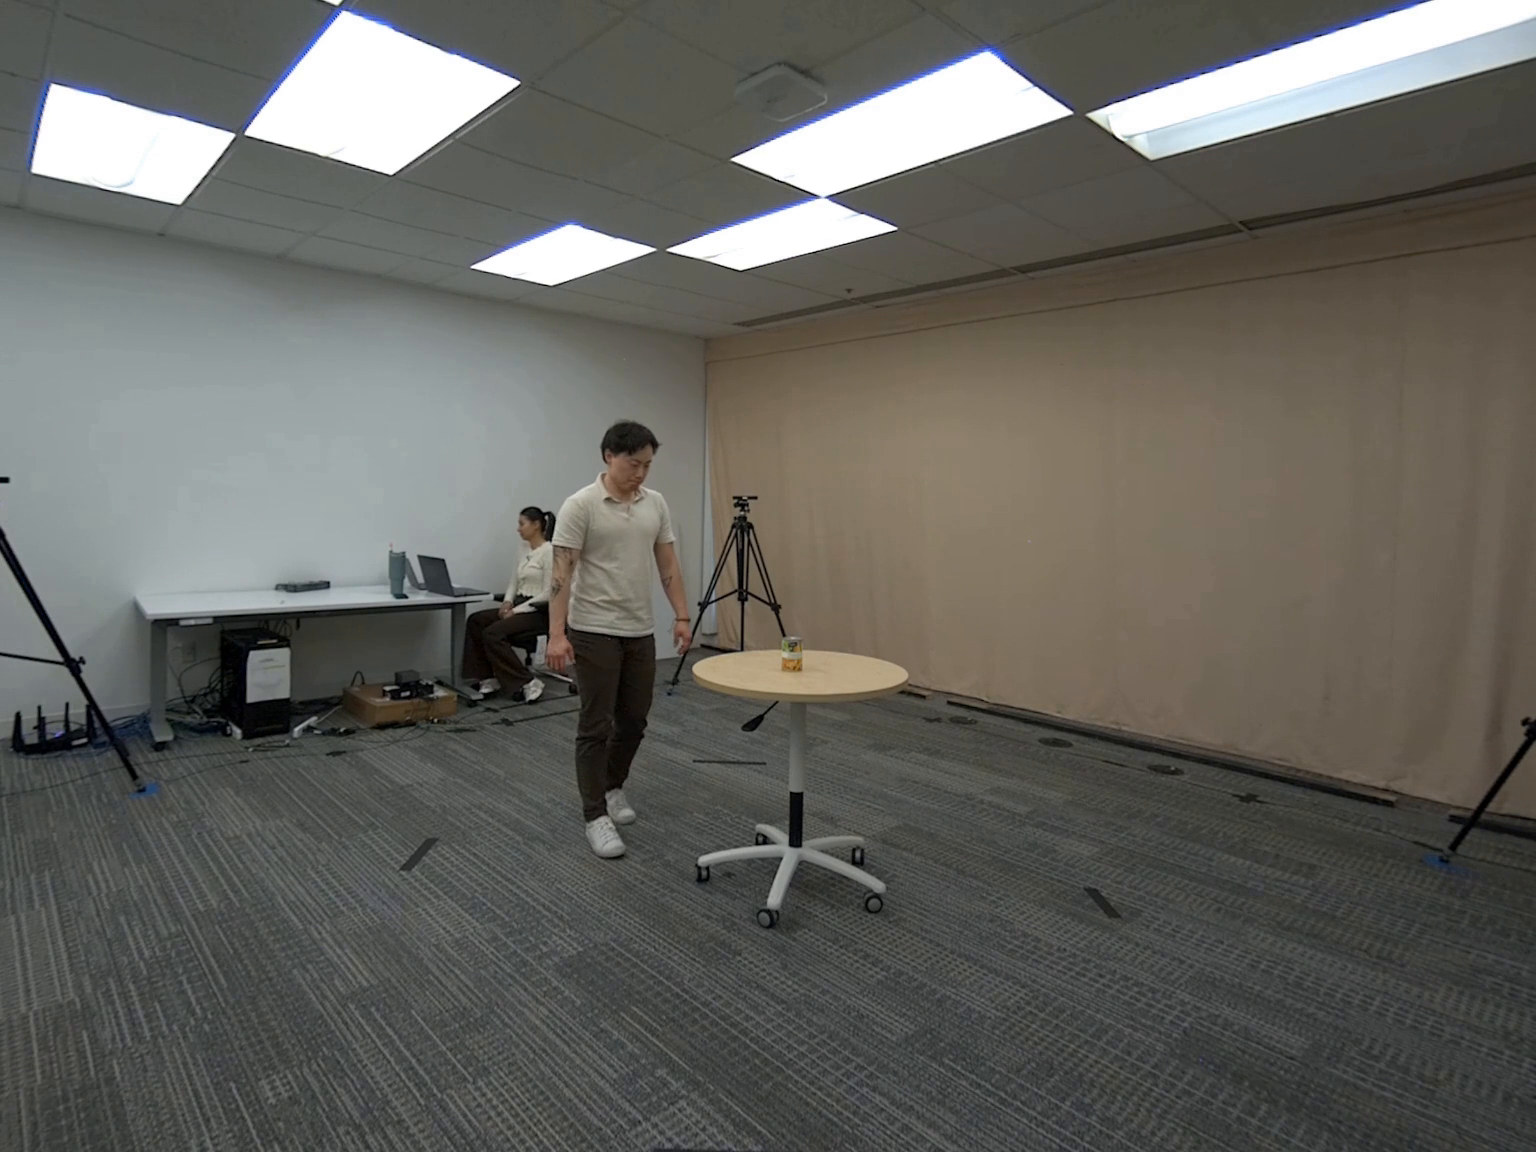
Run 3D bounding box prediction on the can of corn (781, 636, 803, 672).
[{"bbox_3d":[0.081,0.276,2.991,0.074,0.110,0.074,1,5,-1],"label":"can of corn"}]
